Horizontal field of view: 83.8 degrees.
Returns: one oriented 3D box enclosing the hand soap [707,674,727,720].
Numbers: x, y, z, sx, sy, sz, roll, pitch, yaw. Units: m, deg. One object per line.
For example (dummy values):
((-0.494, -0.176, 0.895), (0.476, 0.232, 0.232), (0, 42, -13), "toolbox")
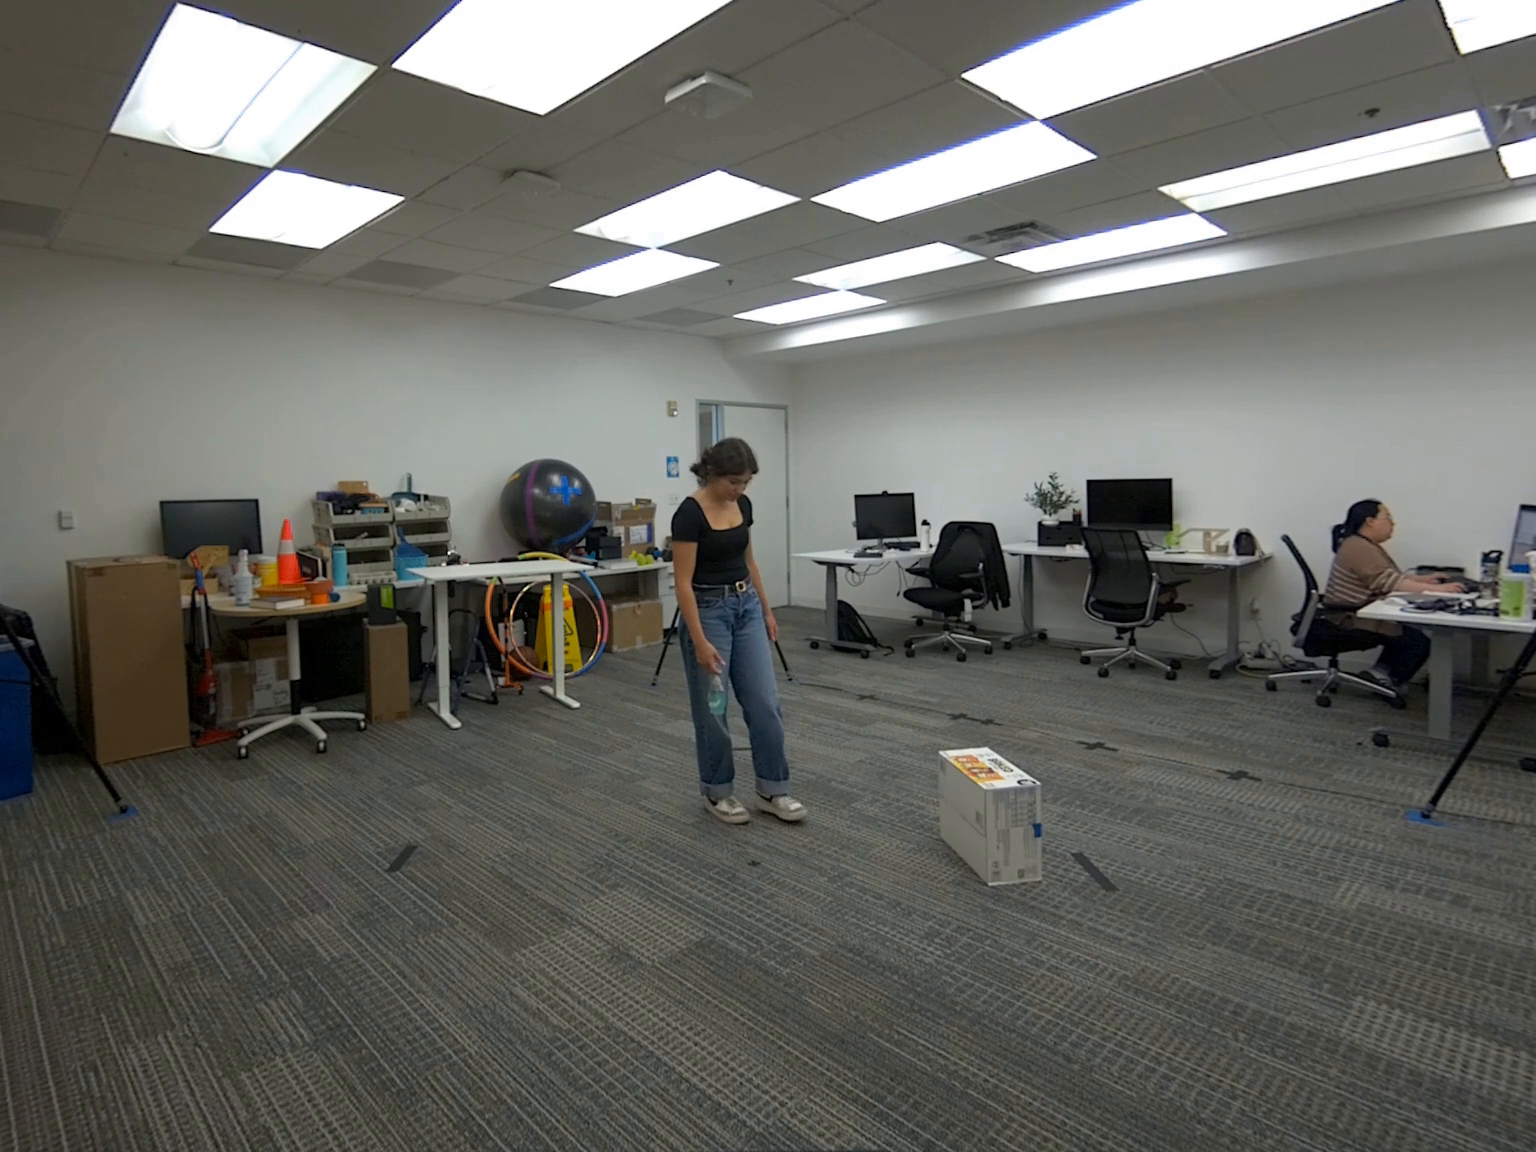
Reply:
((-0.206, 0.451, 3.290), (0.042, 0.168, 0.087), (-1, 0, -33), "hand soap")
